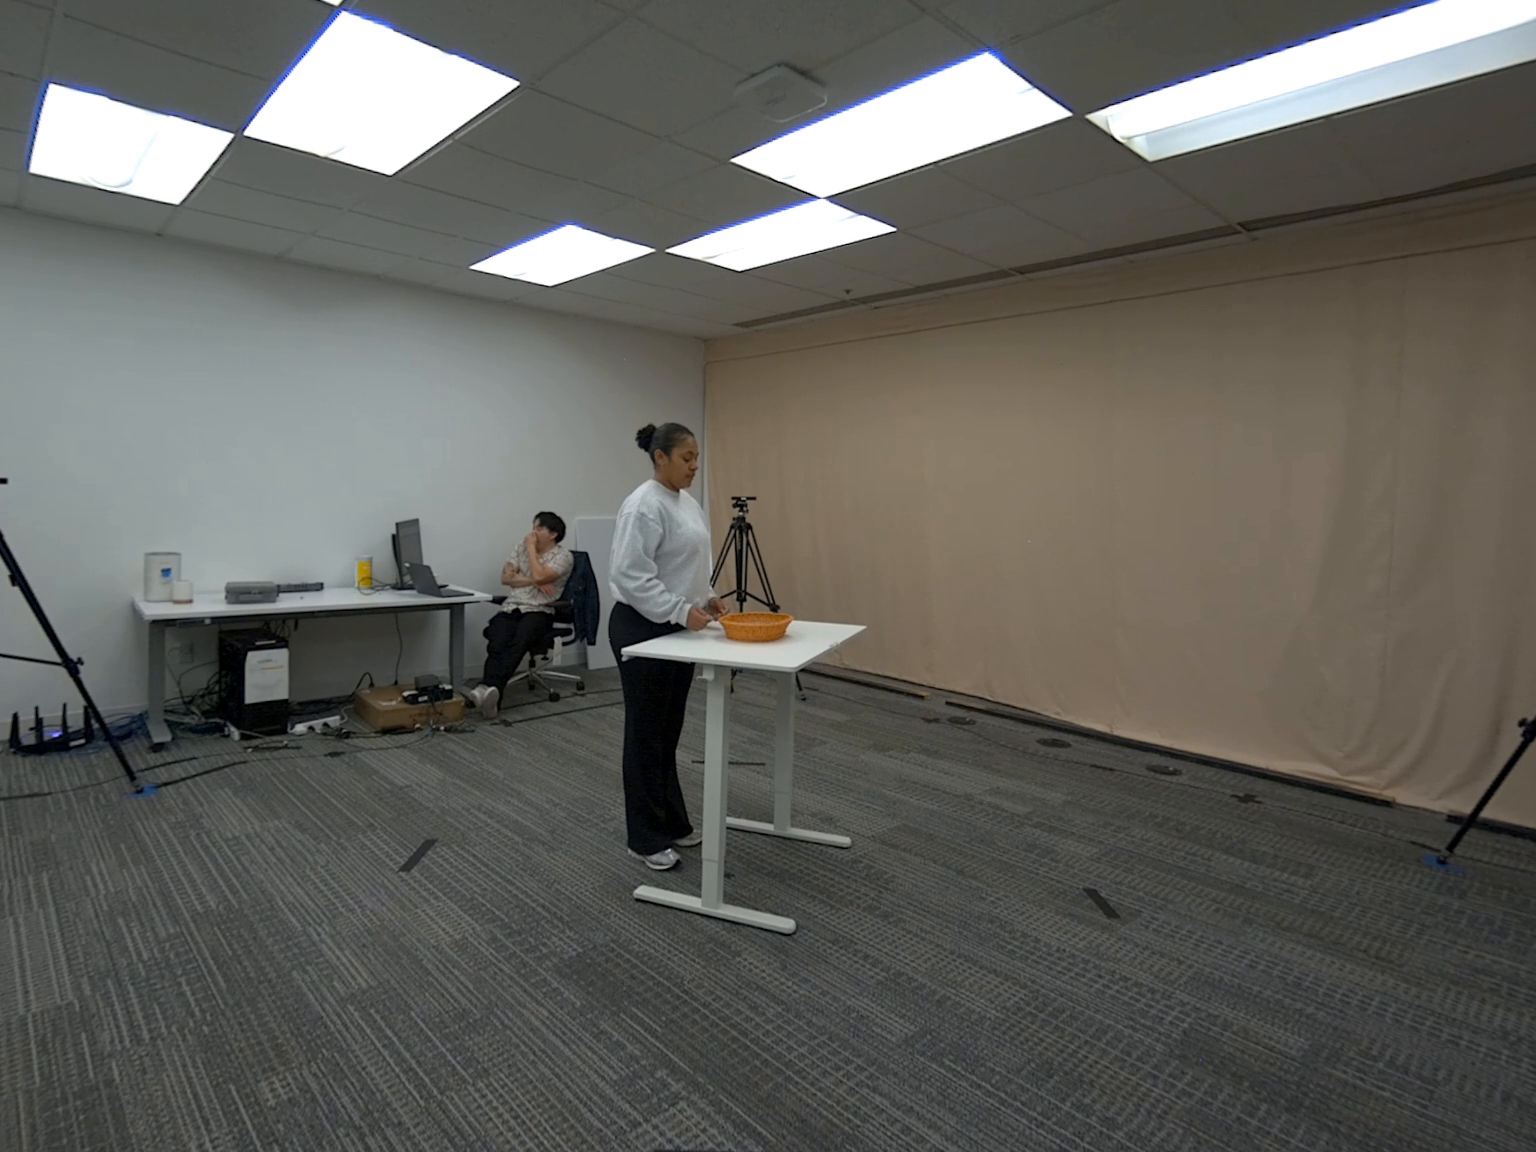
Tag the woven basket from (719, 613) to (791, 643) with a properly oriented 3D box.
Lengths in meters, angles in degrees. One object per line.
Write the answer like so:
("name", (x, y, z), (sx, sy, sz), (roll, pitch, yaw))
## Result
("woven basket", (-0.064, 0.193, 3.117), (0.257, 0.073, 0.345), (3, 5, 21))
